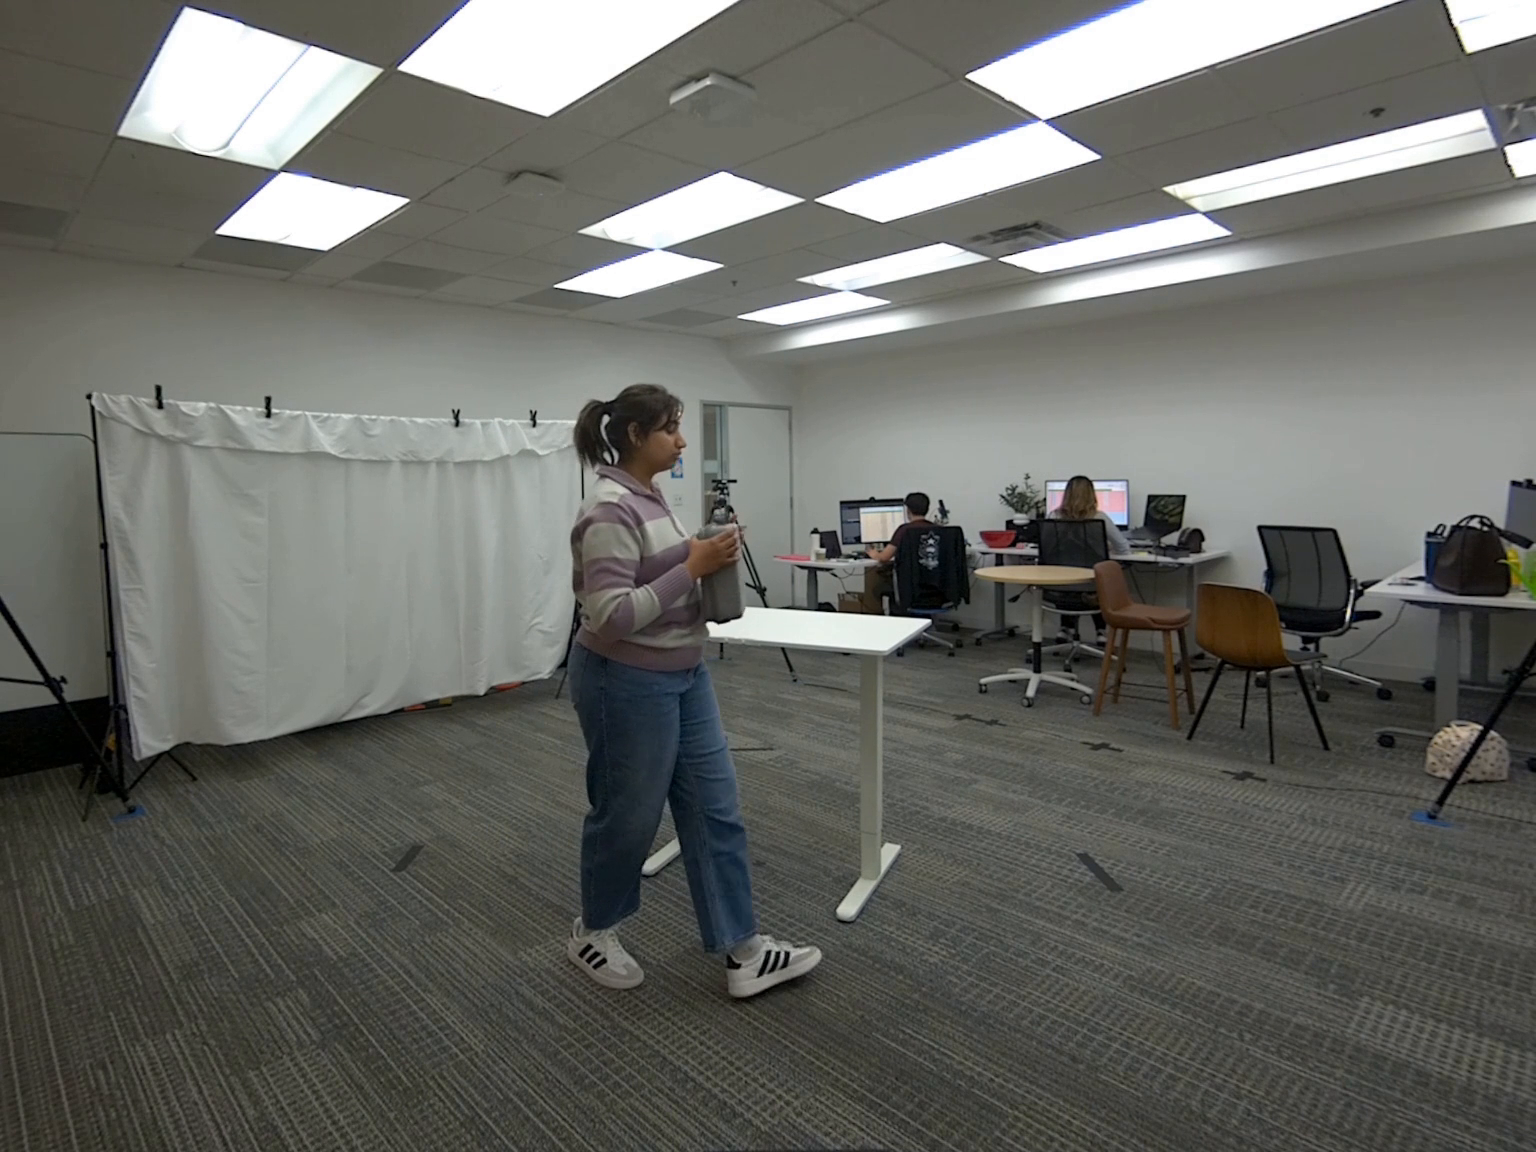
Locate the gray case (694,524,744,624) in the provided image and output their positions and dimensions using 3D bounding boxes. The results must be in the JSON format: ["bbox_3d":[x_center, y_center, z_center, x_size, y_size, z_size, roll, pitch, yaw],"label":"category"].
[{"bbox_3d":[-0.127,-0.018,2.328,0.105,0.259,0.257,-4,6,4],"label":"gray case"}]
